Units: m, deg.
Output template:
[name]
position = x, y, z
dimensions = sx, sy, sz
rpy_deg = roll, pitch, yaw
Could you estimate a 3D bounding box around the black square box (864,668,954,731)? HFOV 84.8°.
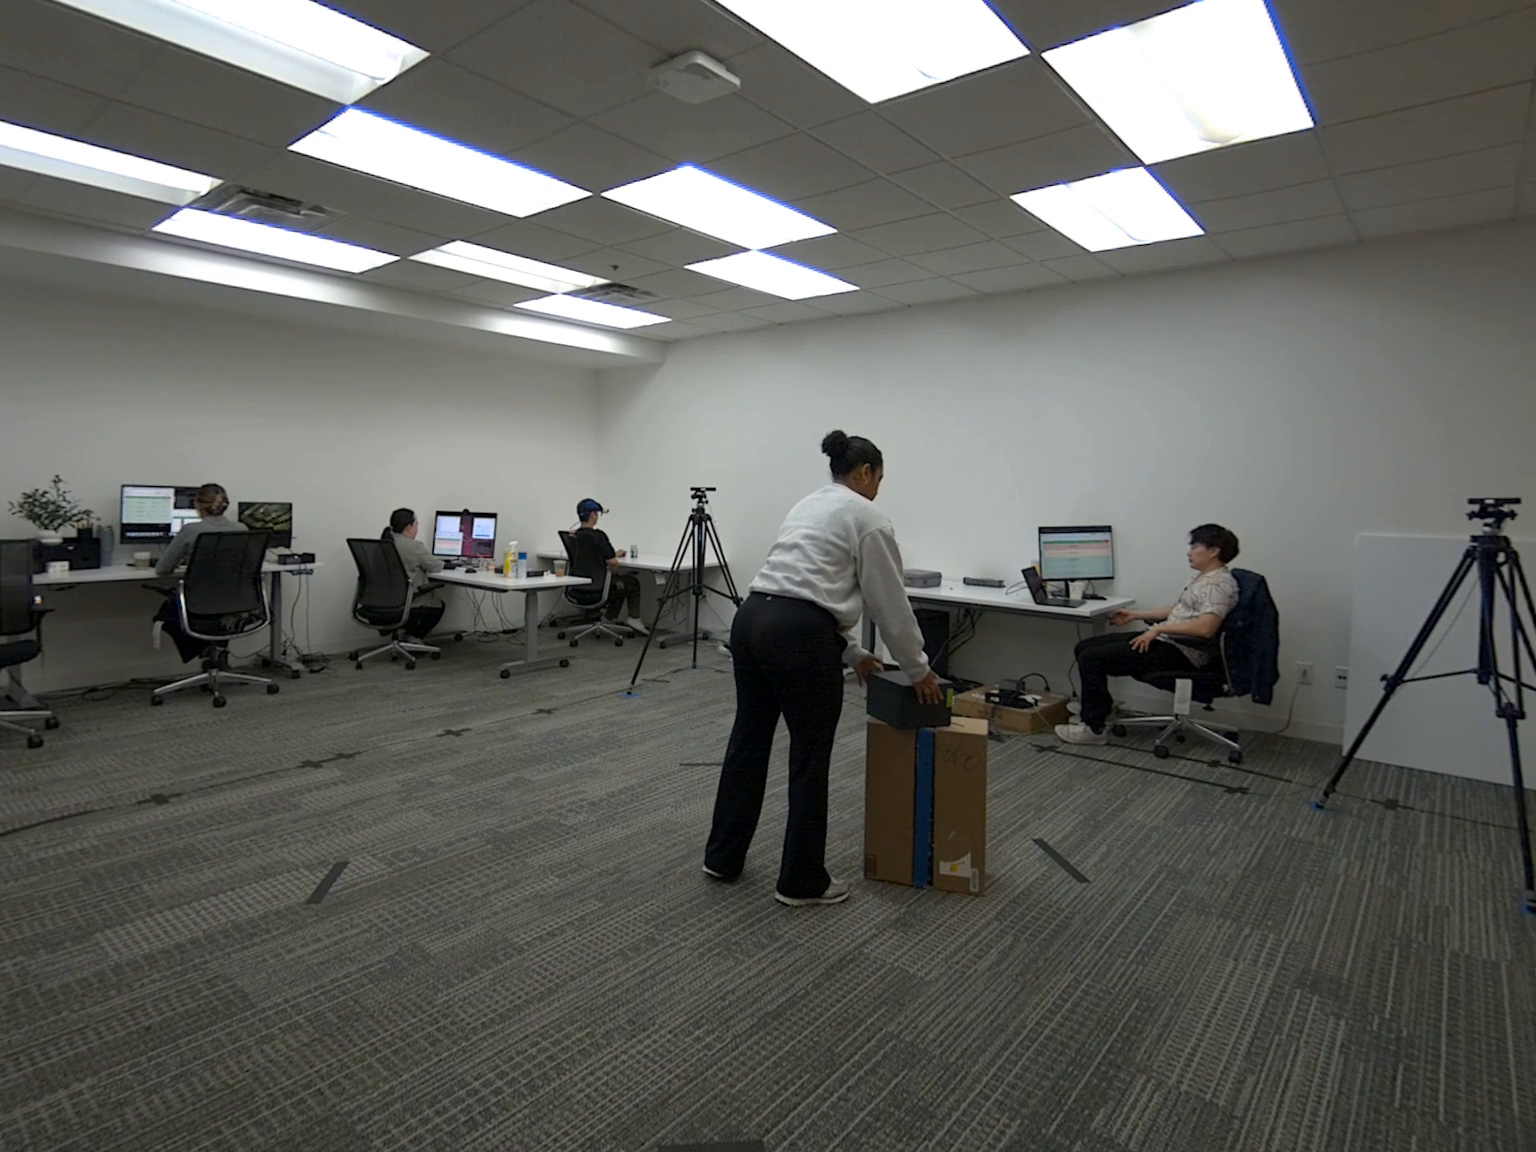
[black square box]
position = 0.510, 0.441, 3.081
dimensions = 0.212, 0.155, 0.234
rpy_deg = 0, 4, -24
